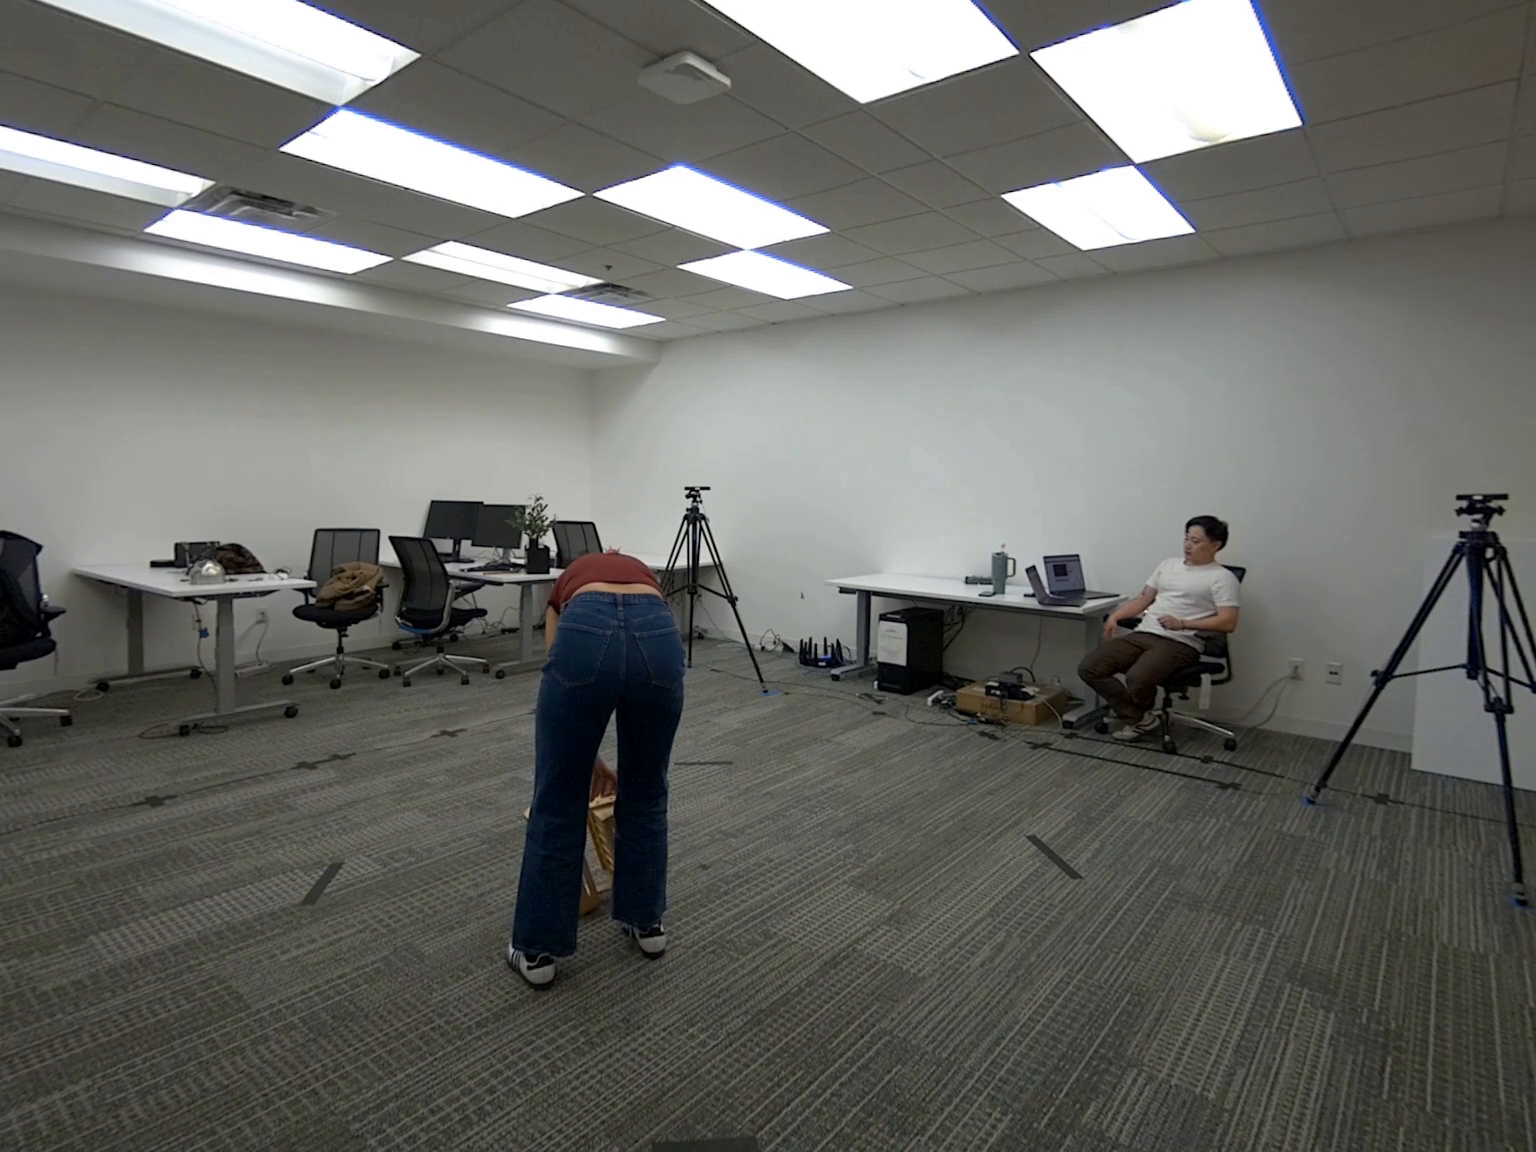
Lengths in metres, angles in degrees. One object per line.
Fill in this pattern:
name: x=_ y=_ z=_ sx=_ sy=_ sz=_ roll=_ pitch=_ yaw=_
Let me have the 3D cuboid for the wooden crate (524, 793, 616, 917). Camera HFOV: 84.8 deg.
wooden crate: x=-0.609 y=0.895 z=2.835 sx=0.269 sy=0.318 sz=0.312 roll=-24 pitch=19 yaw=-29
